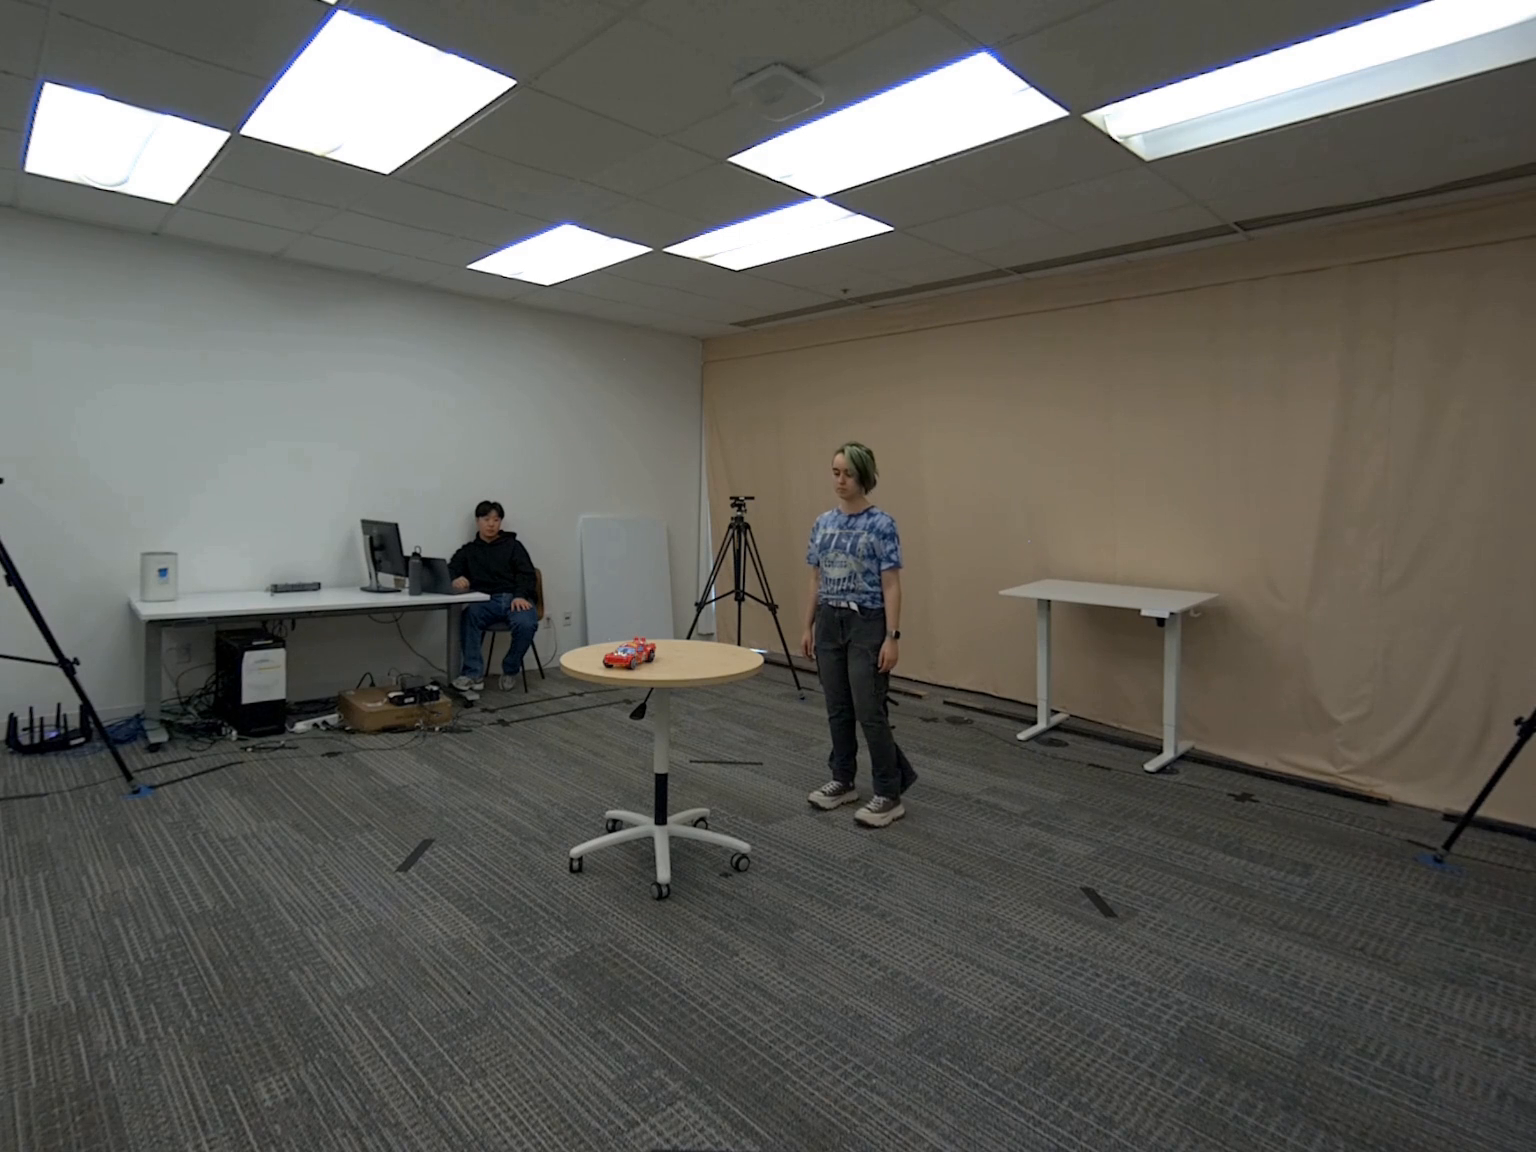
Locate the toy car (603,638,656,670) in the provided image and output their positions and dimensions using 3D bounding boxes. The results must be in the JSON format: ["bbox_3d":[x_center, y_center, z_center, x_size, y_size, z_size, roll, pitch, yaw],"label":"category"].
[{"bbox_3d":[-0.505,0.288,3.054,0.132,0.082,0.254,3,17,17],"label":"toy car"}]
